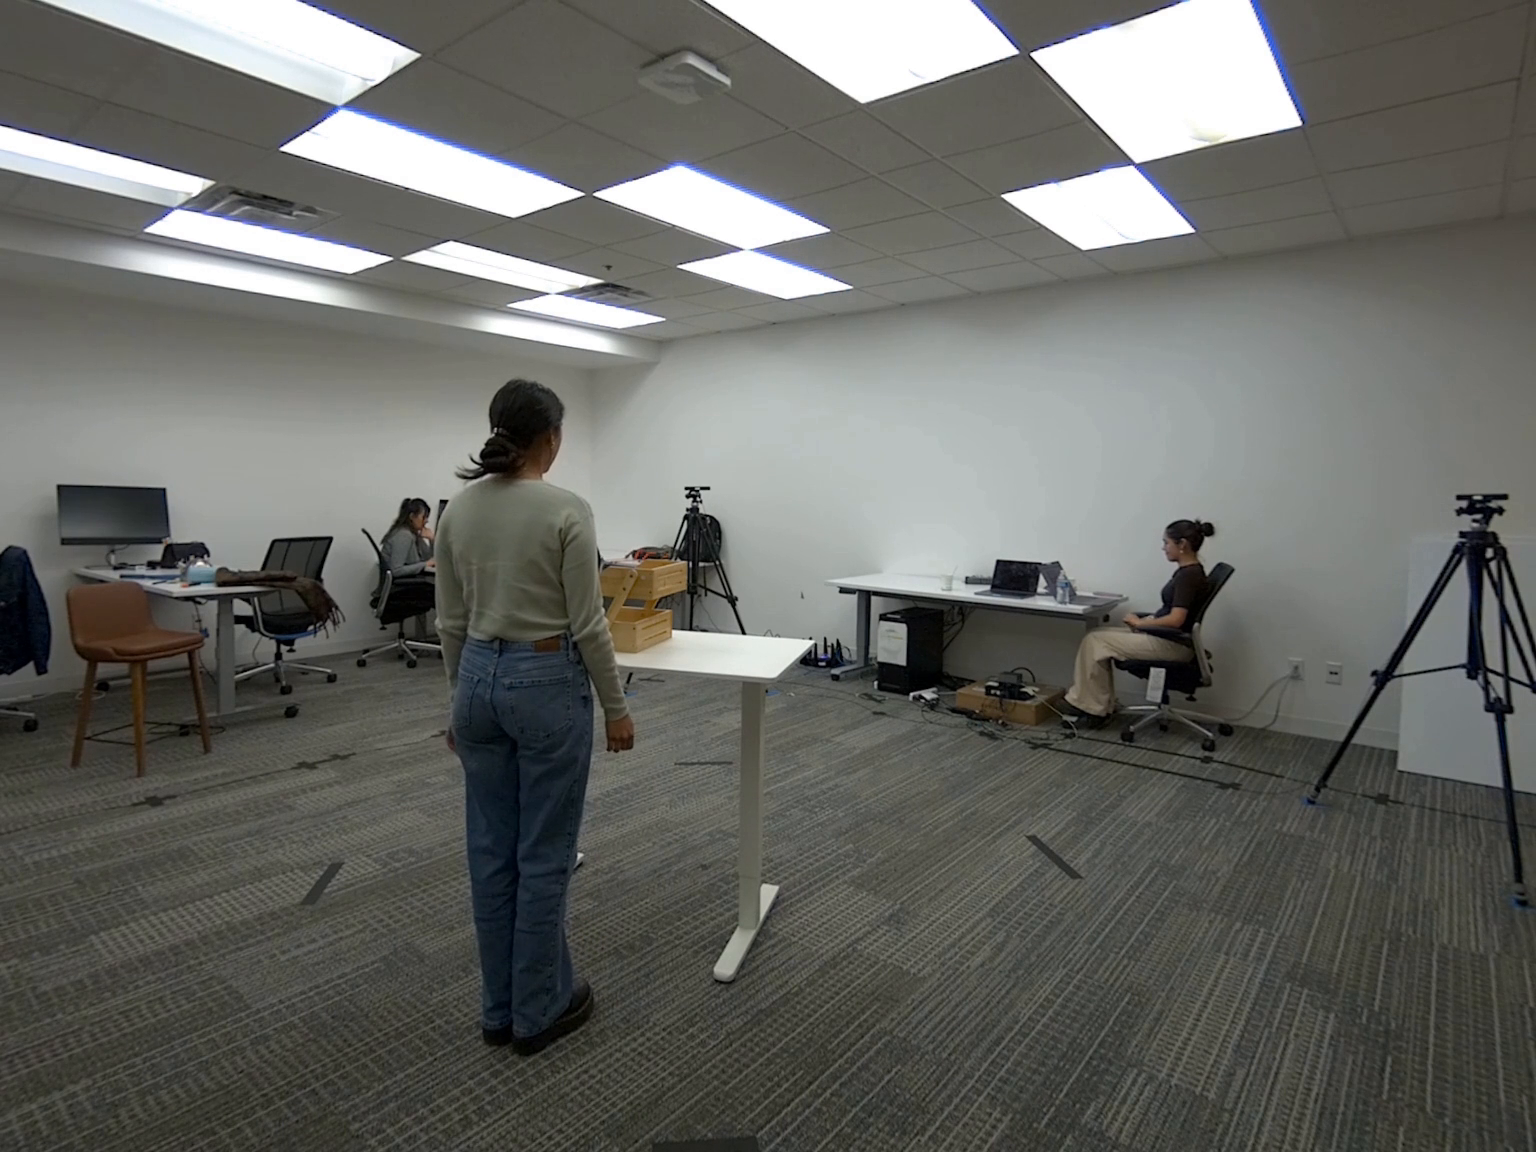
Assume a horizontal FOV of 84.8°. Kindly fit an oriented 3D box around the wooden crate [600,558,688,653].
[{"bbox_3d":[-0.469,0.078,2.757,0.307,0.272,0.320,3,5,15],"label":"wooden crate"}]
